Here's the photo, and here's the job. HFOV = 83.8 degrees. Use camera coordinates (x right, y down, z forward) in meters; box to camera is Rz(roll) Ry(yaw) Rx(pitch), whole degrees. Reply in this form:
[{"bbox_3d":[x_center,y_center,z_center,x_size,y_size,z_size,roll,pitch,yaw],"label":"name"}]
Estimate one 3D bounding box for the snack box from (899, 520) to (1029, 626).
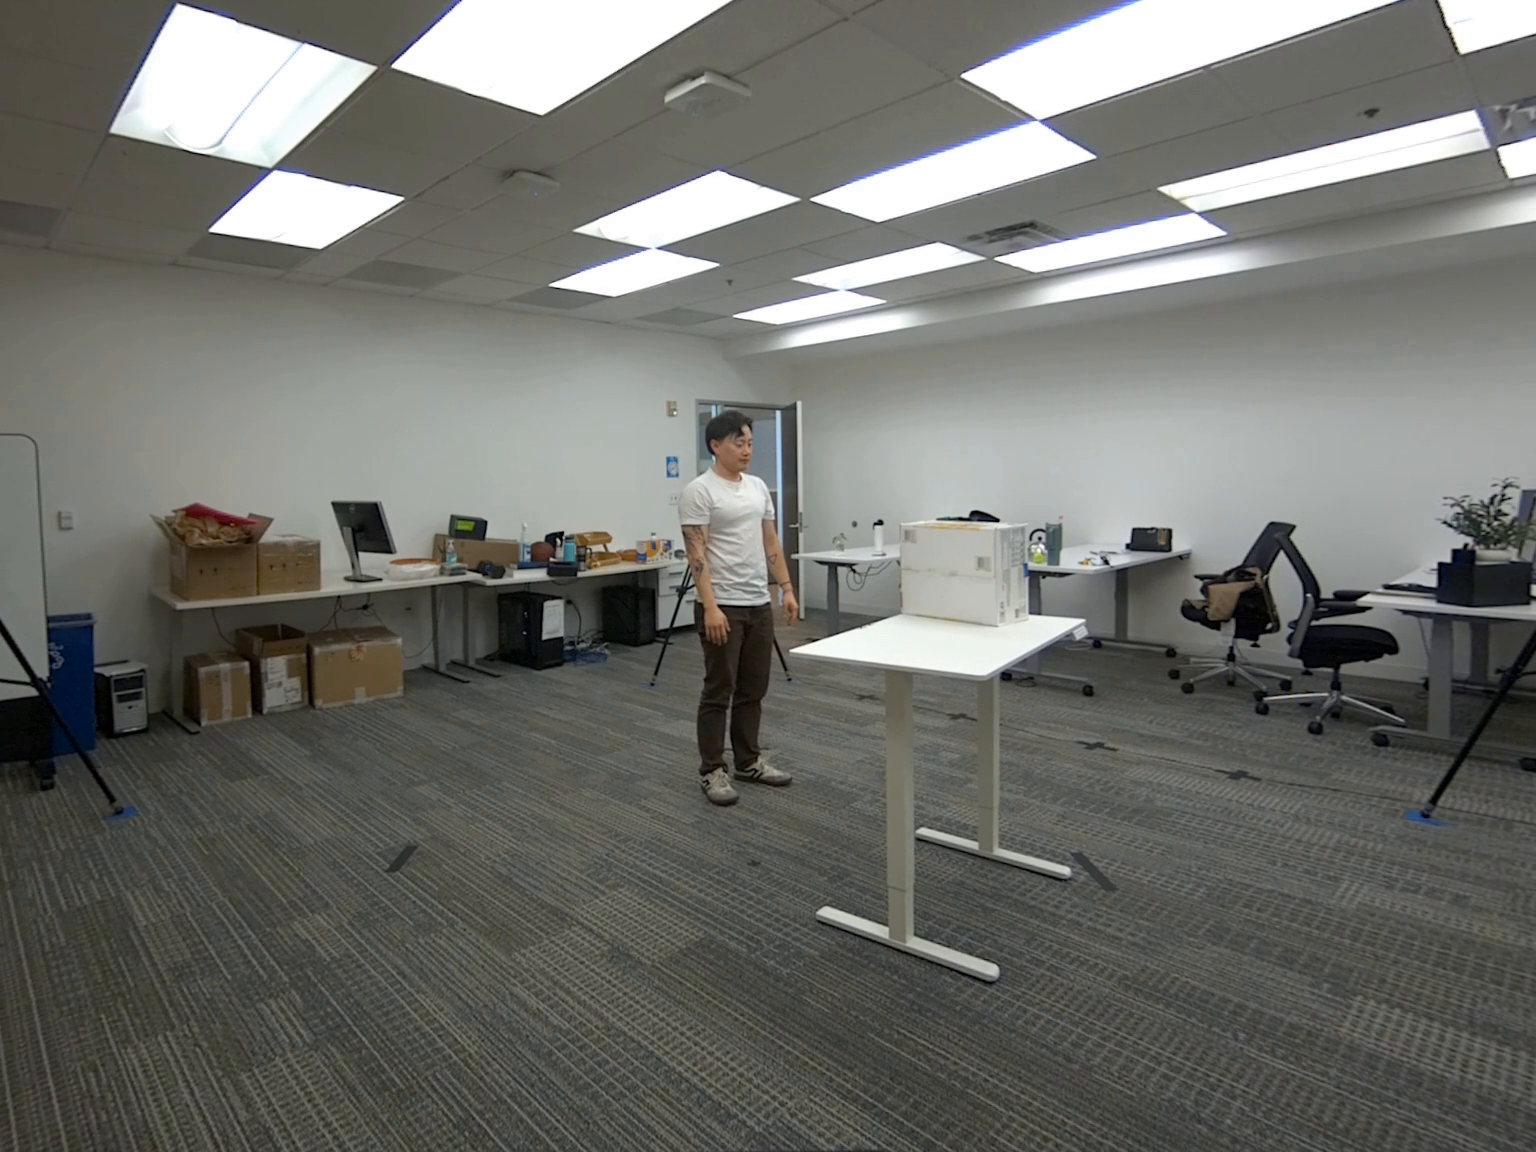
[{"bbox_3d":[0.705,-0.020,3.091,0.200,0.339,0.418,-6,7,-41],"label":"snack box"}]
